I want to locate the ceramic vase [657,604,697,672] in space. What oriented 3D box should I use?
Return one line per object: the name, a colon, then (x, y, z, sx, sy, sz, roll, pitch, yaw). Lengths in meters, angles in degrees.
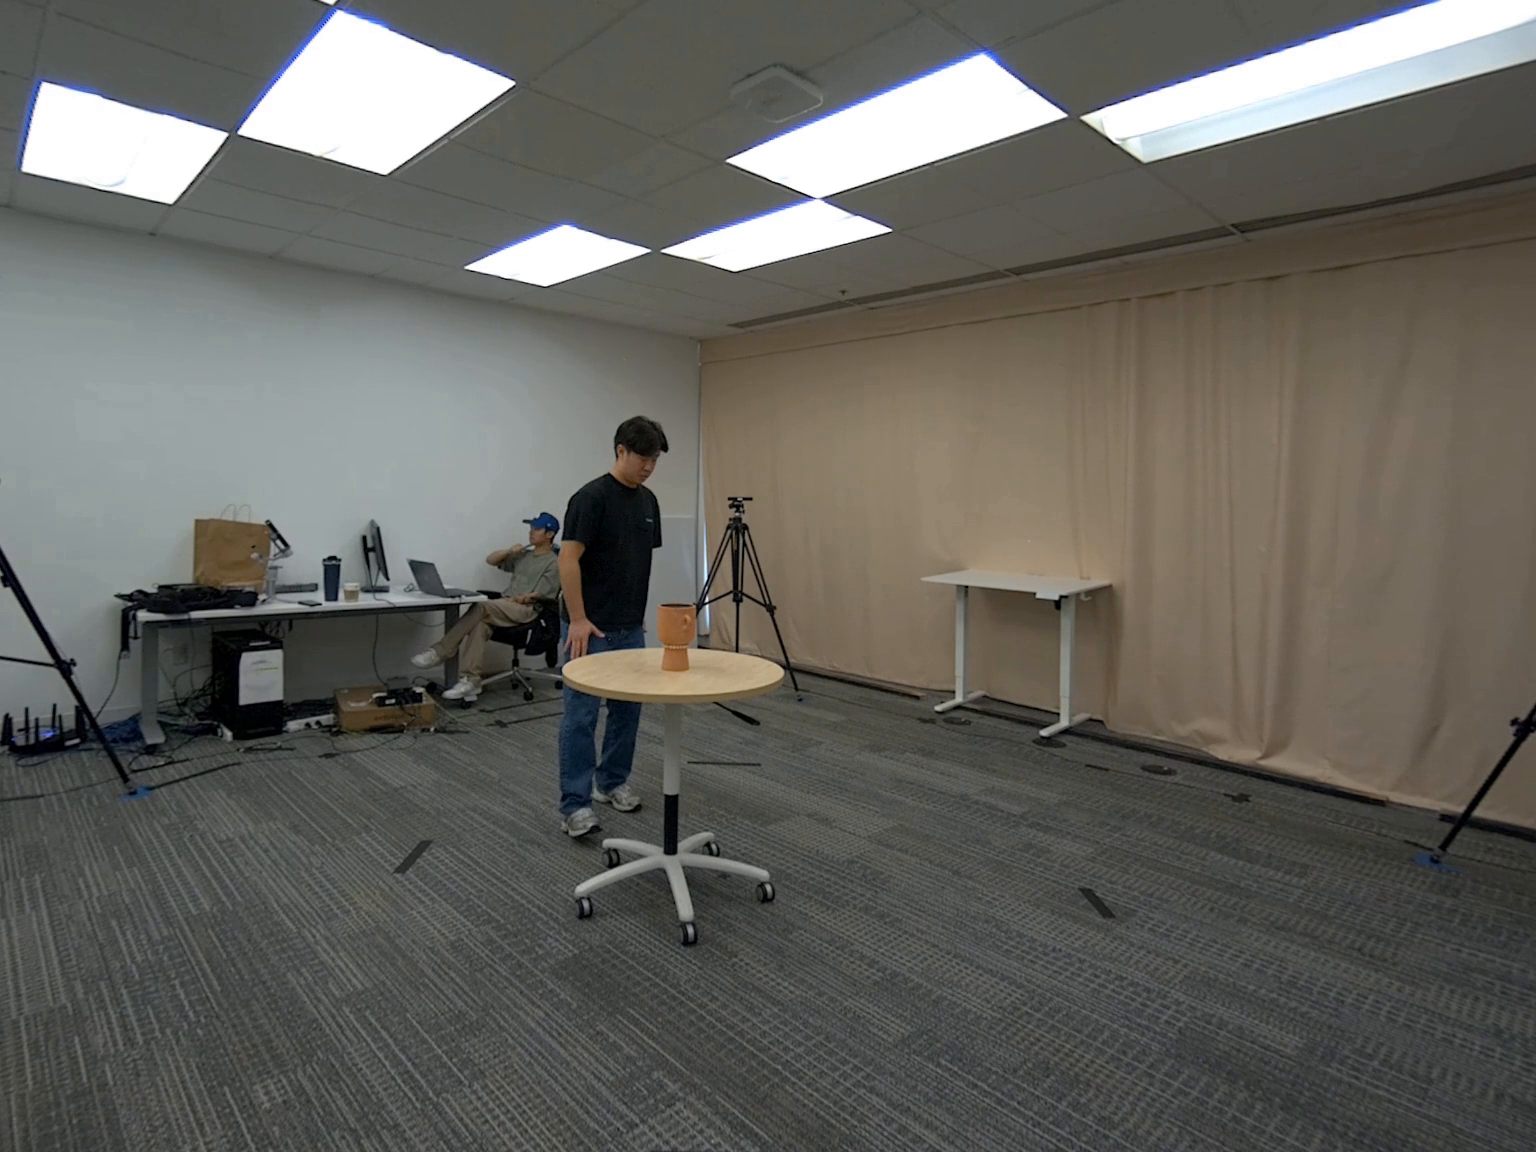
ceramic vase: (-0.326, 0.216, 2.915, 0.135, 0.219, 0.158, 2, 5, 7)
